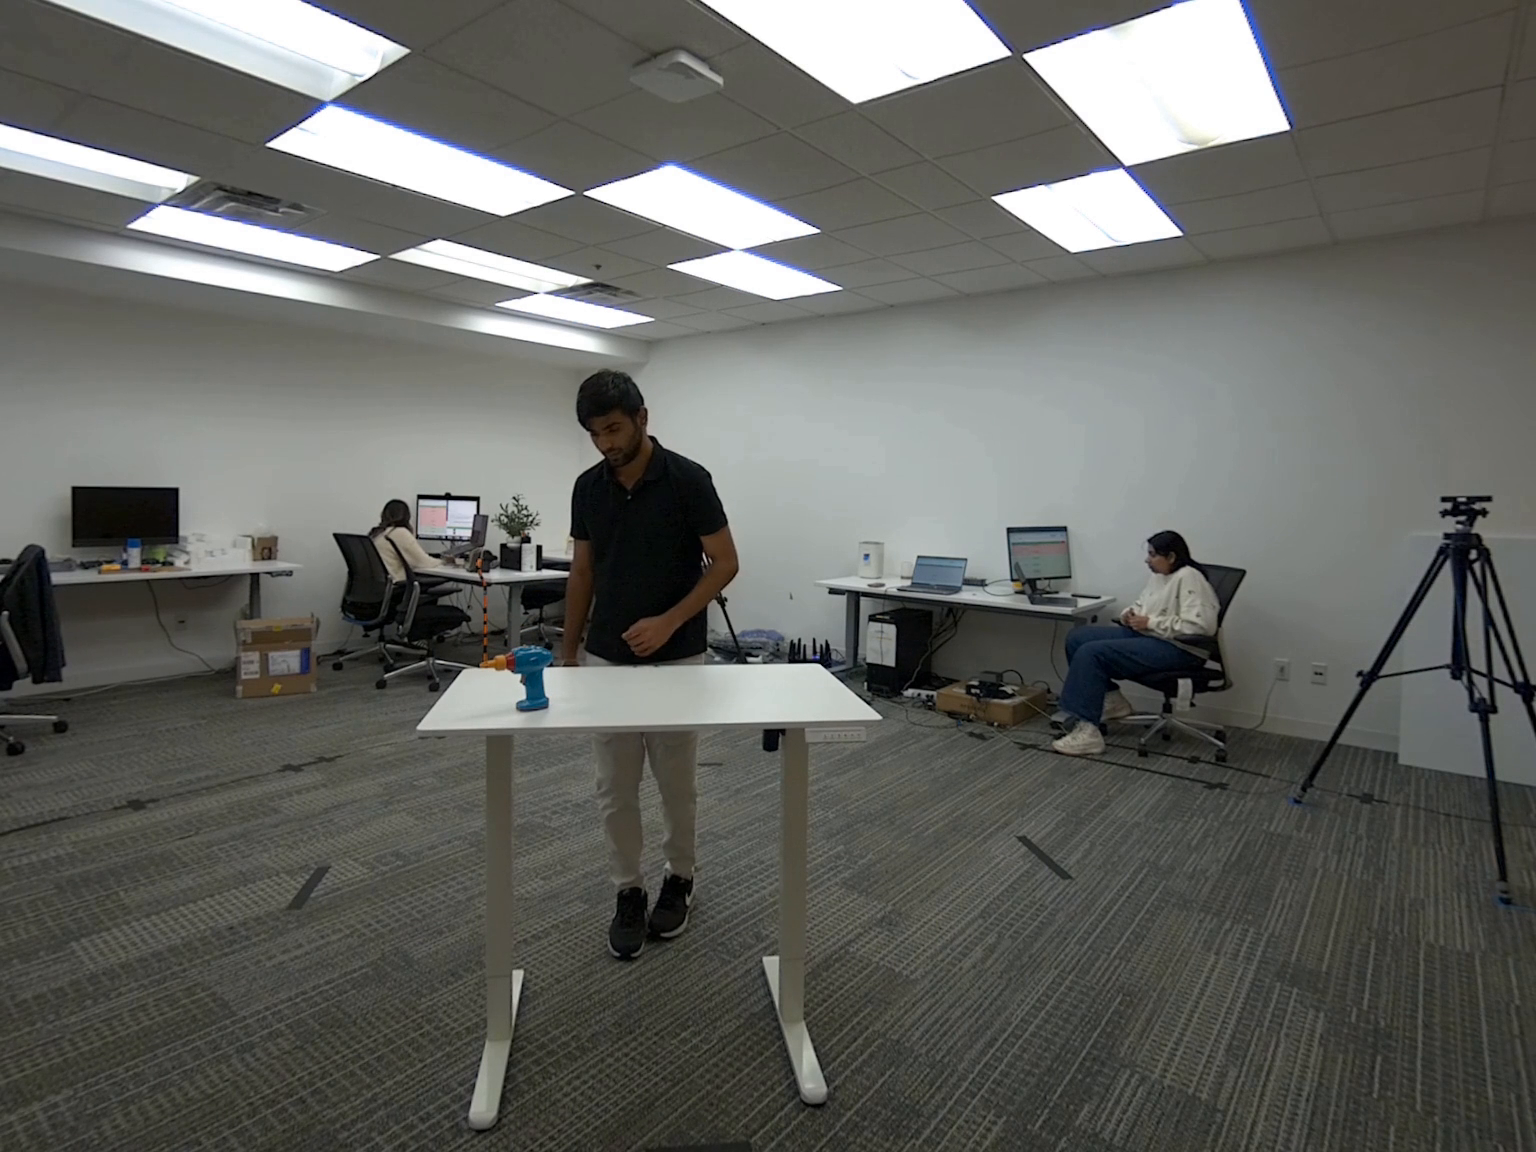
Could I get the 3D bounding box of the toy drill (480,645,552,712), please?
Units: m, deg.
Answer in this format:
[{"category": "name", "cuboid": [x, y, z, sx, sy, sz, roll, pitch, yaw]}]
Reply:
[{"category": "toy drill", "cuboid": [-0.573, 0.227, 1.918, 0.165, 0.145, 0.063, -4, 5, -36]}]
